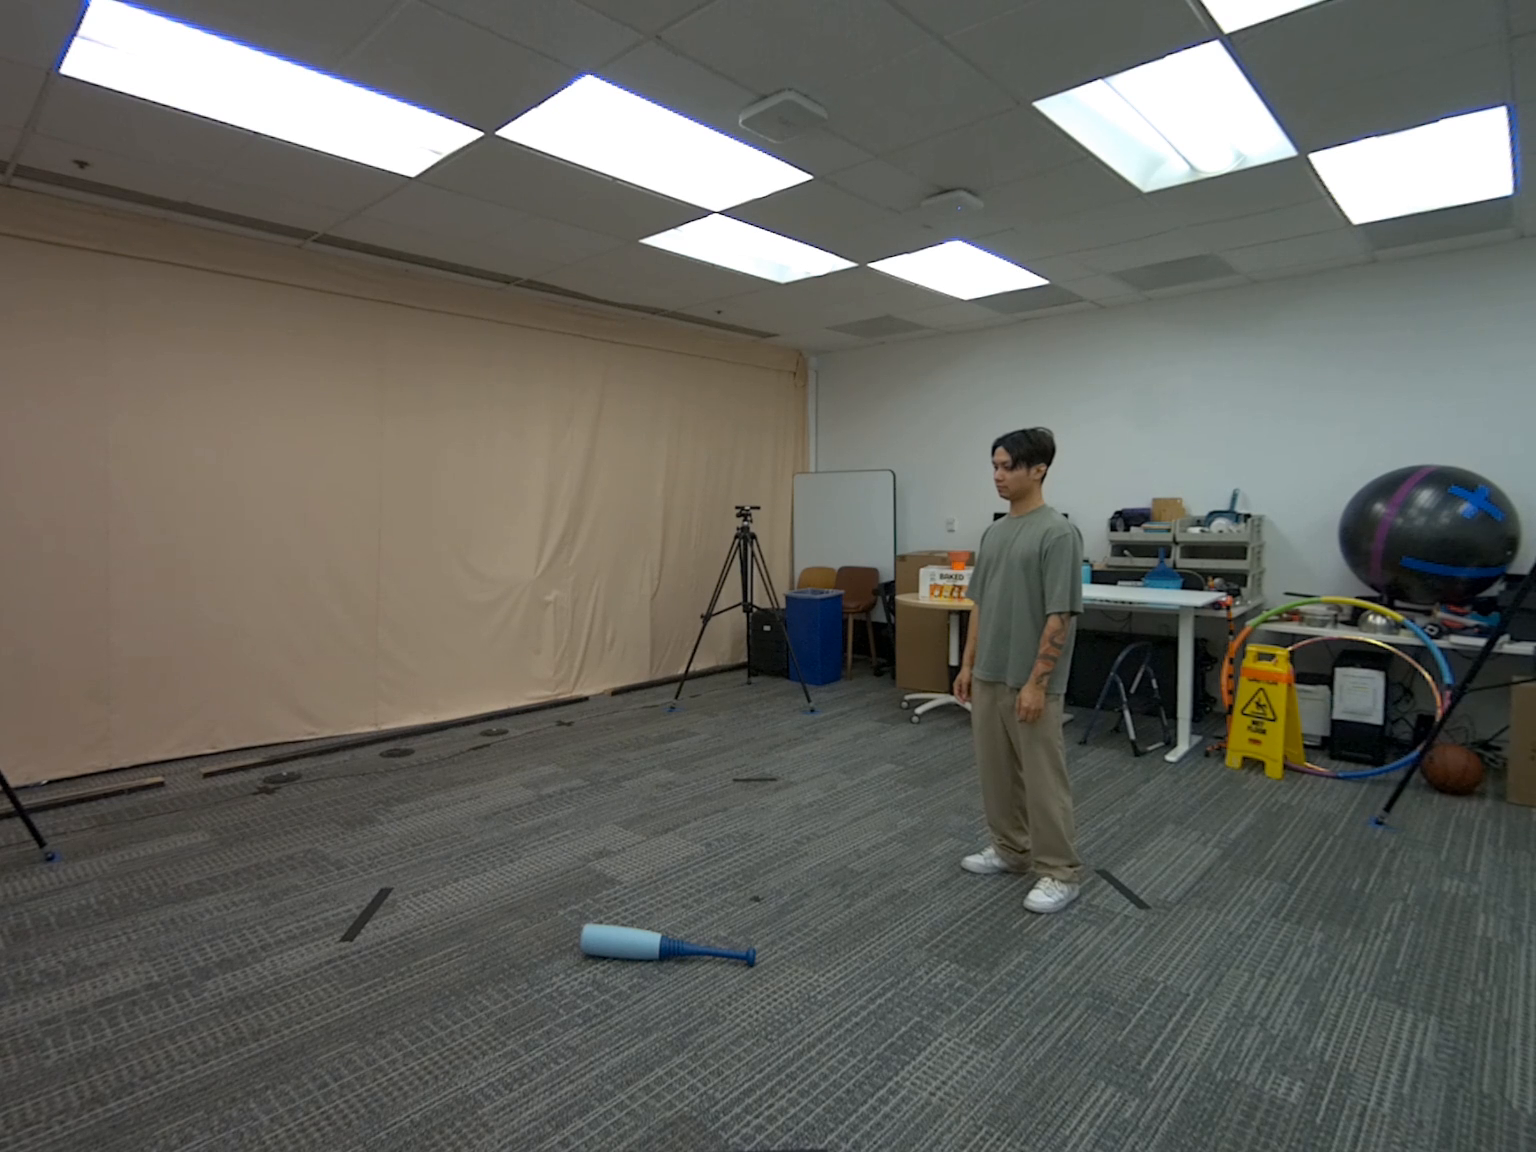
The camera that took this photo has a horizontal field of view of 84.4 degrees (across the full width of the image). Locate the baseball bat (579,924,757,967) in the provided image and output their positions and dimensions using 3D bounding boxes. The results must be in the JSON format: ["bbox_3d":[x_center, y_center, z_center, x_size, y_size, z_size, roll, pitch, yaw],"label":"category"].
[{"bbox_3d":[-0.304,1.145,2.584,0.547,0.089,0.088,4,4,6],"label":"baseball bat"}]
